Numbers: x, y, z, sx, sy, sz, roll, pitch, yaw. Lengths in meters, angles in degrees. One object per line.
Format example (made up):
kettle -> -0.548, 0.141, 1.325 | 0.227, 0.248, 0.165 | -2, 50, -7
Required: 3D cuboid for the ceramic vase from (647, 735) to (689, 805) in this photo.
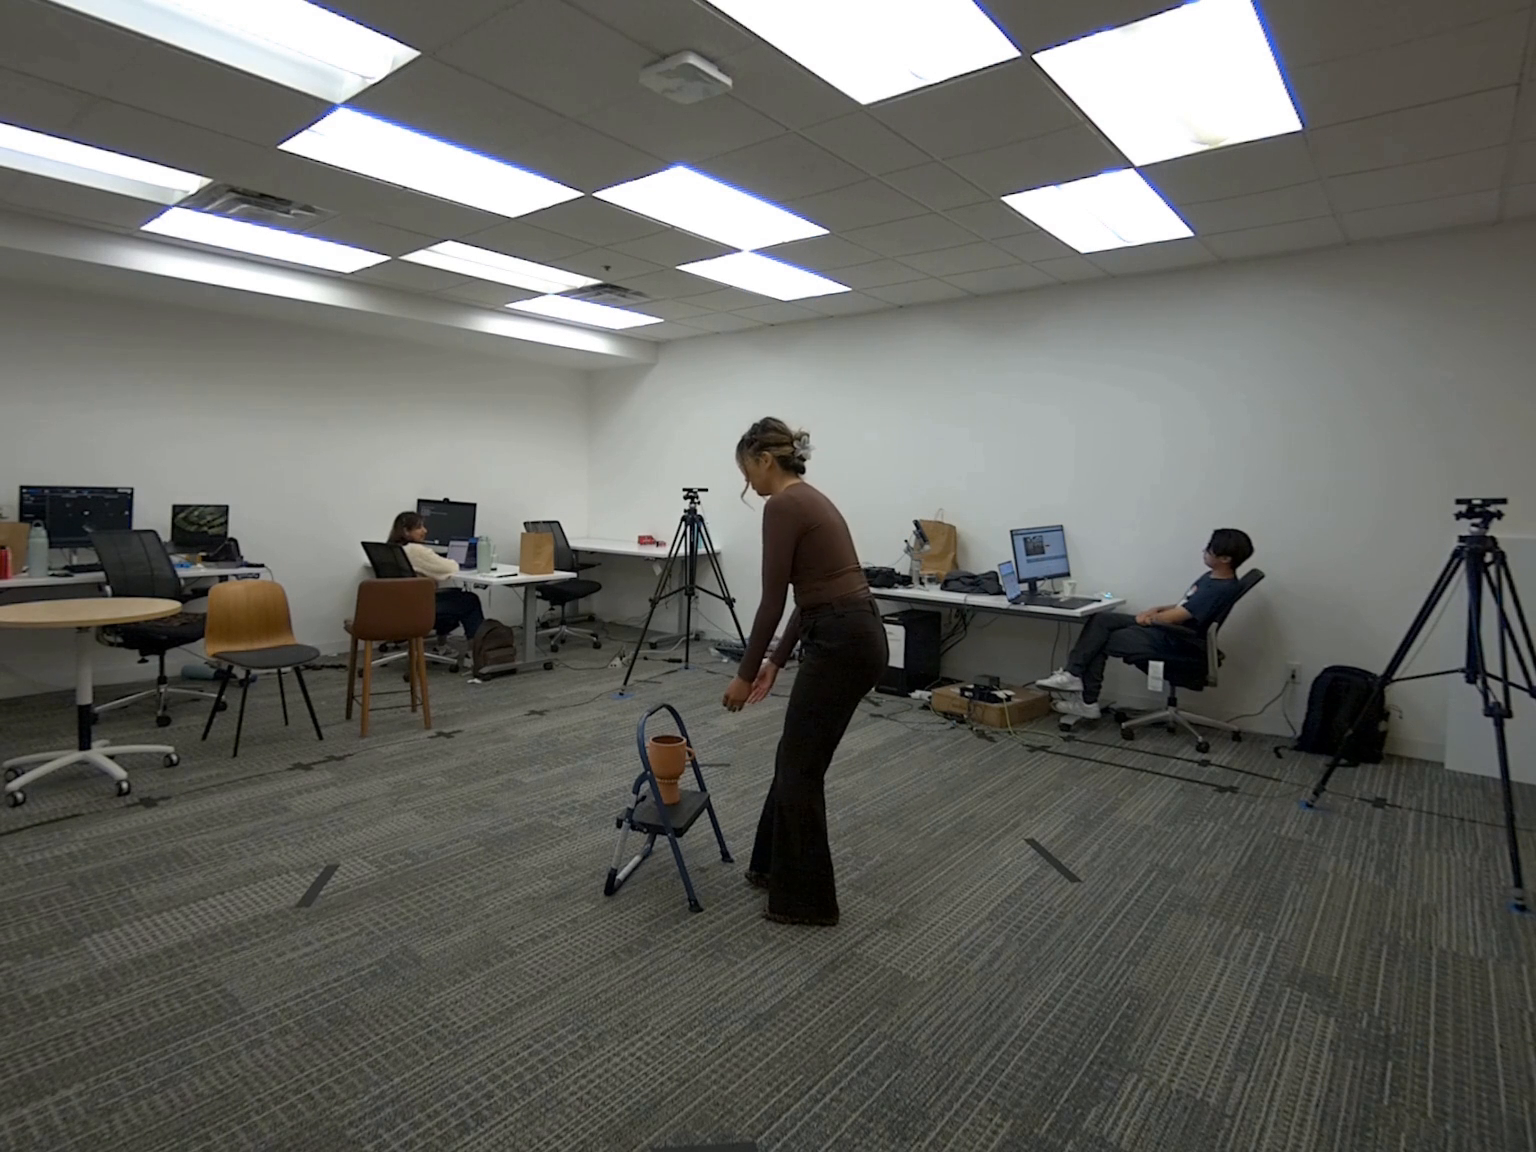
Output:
ceramic vase -> -0.374, 0.700, 3.077 | 0.130, 0.219, 0.164 | -2, 5, -43
